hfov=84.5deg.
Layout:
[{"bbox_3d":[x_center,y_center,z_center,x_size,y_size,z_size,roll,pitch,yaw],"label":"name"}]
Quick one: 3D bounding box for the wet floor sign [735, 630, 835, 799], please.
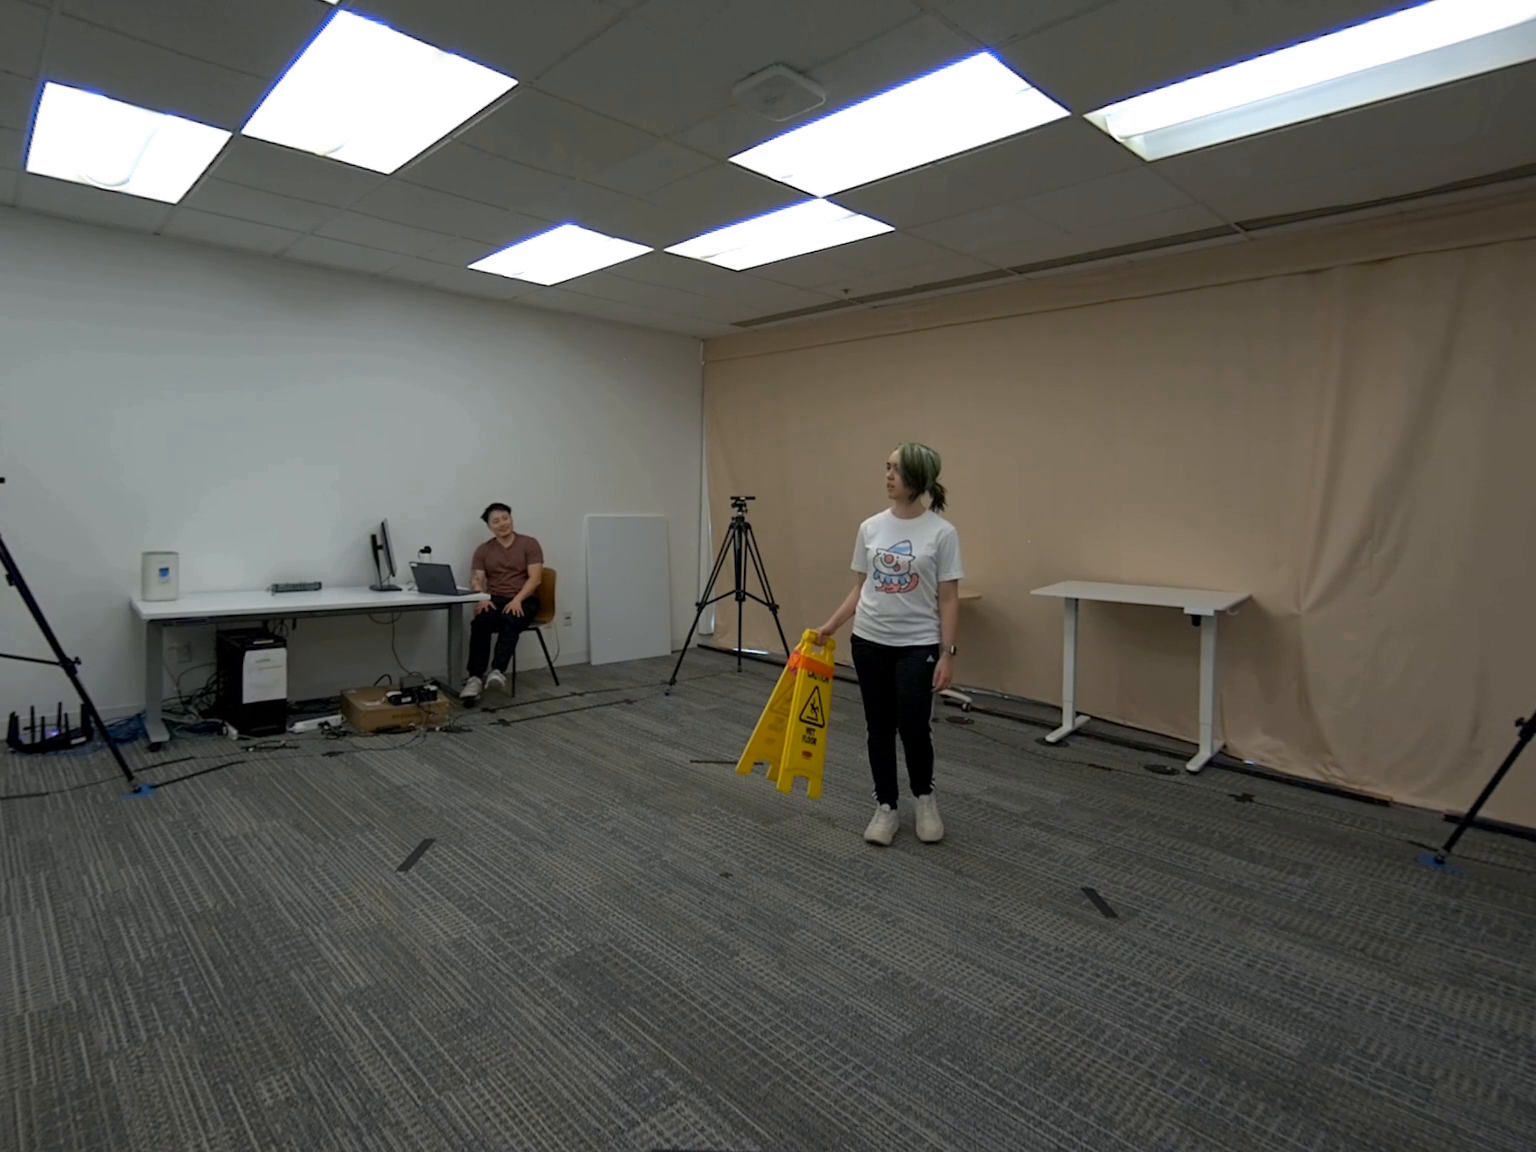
[{"bbox_3d":[0.128,0.554,3.502,0.297,0.648,0.273,10,-11,43],"label":"wet floor sign"}]
